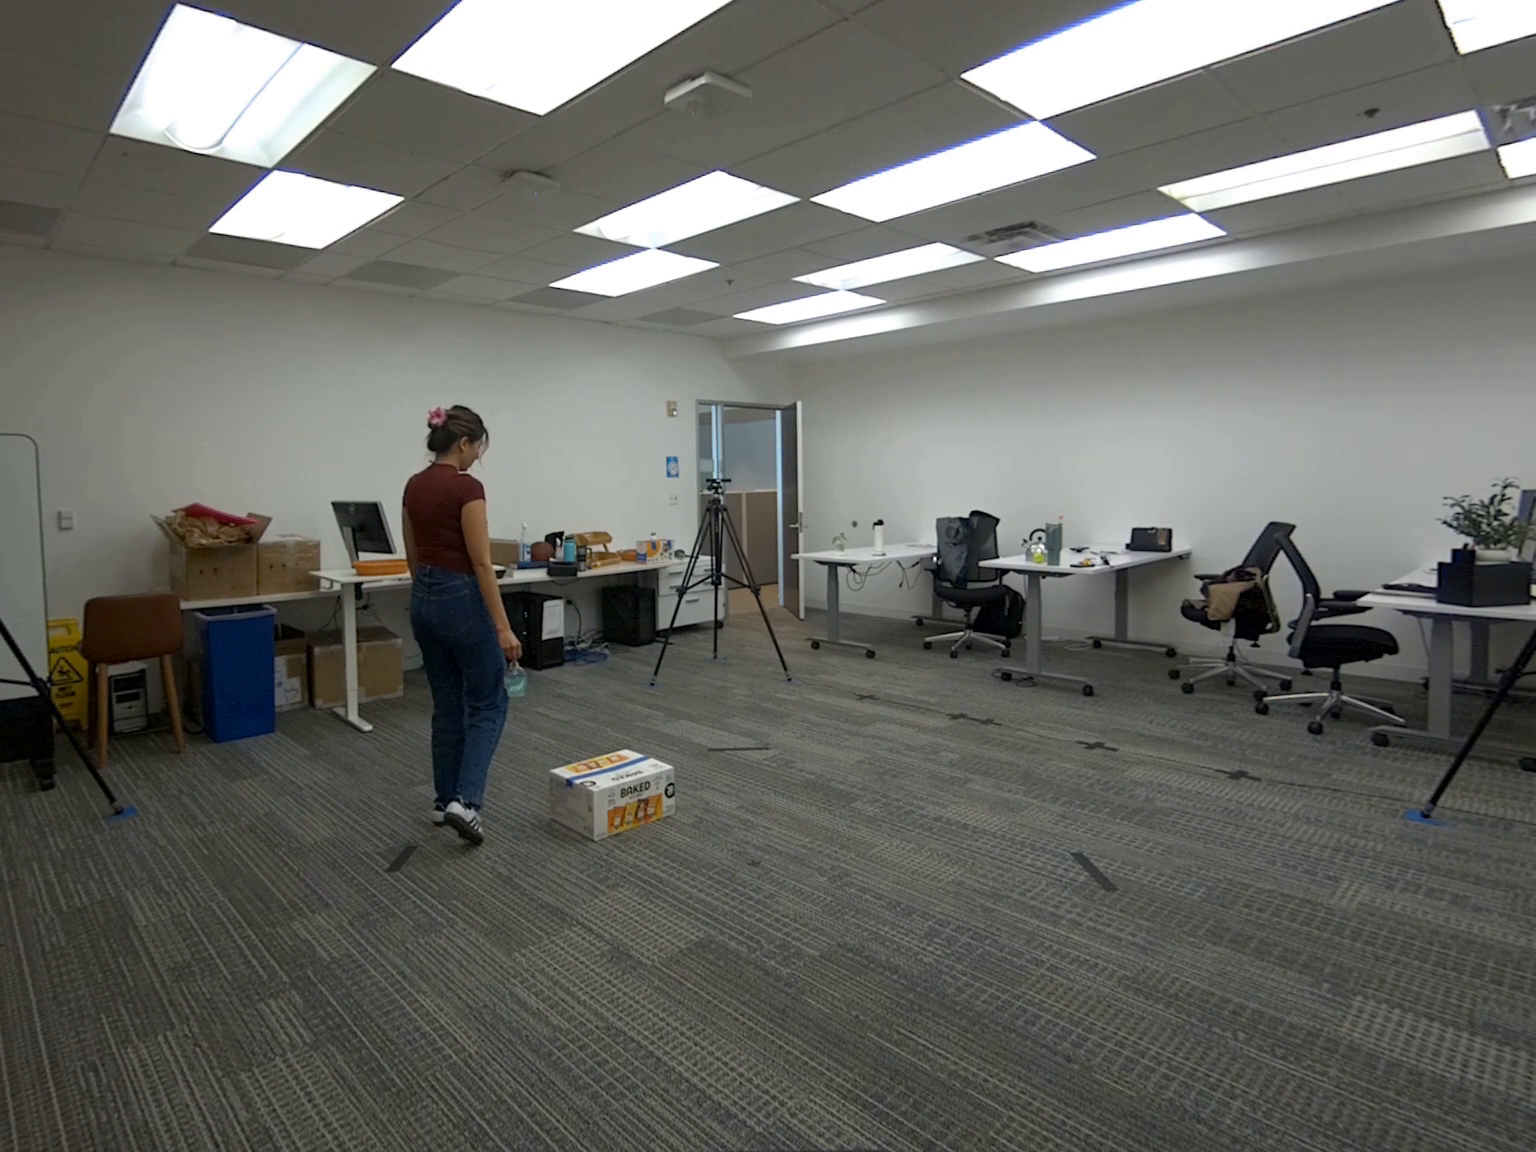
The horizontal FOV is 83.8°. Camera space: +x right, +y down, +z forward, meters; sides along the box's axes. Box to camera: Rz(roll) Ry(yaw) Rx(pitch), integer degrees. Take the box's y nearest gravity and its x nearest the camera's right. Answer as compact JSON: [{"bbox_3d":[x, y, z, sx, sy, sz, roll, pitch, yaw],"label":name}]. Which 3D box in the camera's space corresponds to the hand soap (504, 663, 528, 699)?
[{"bbox_3d":[-0.977,0.381,3.323,0.084,0.168,0.043,-3,1,-5],"label":"hand soap"}]
